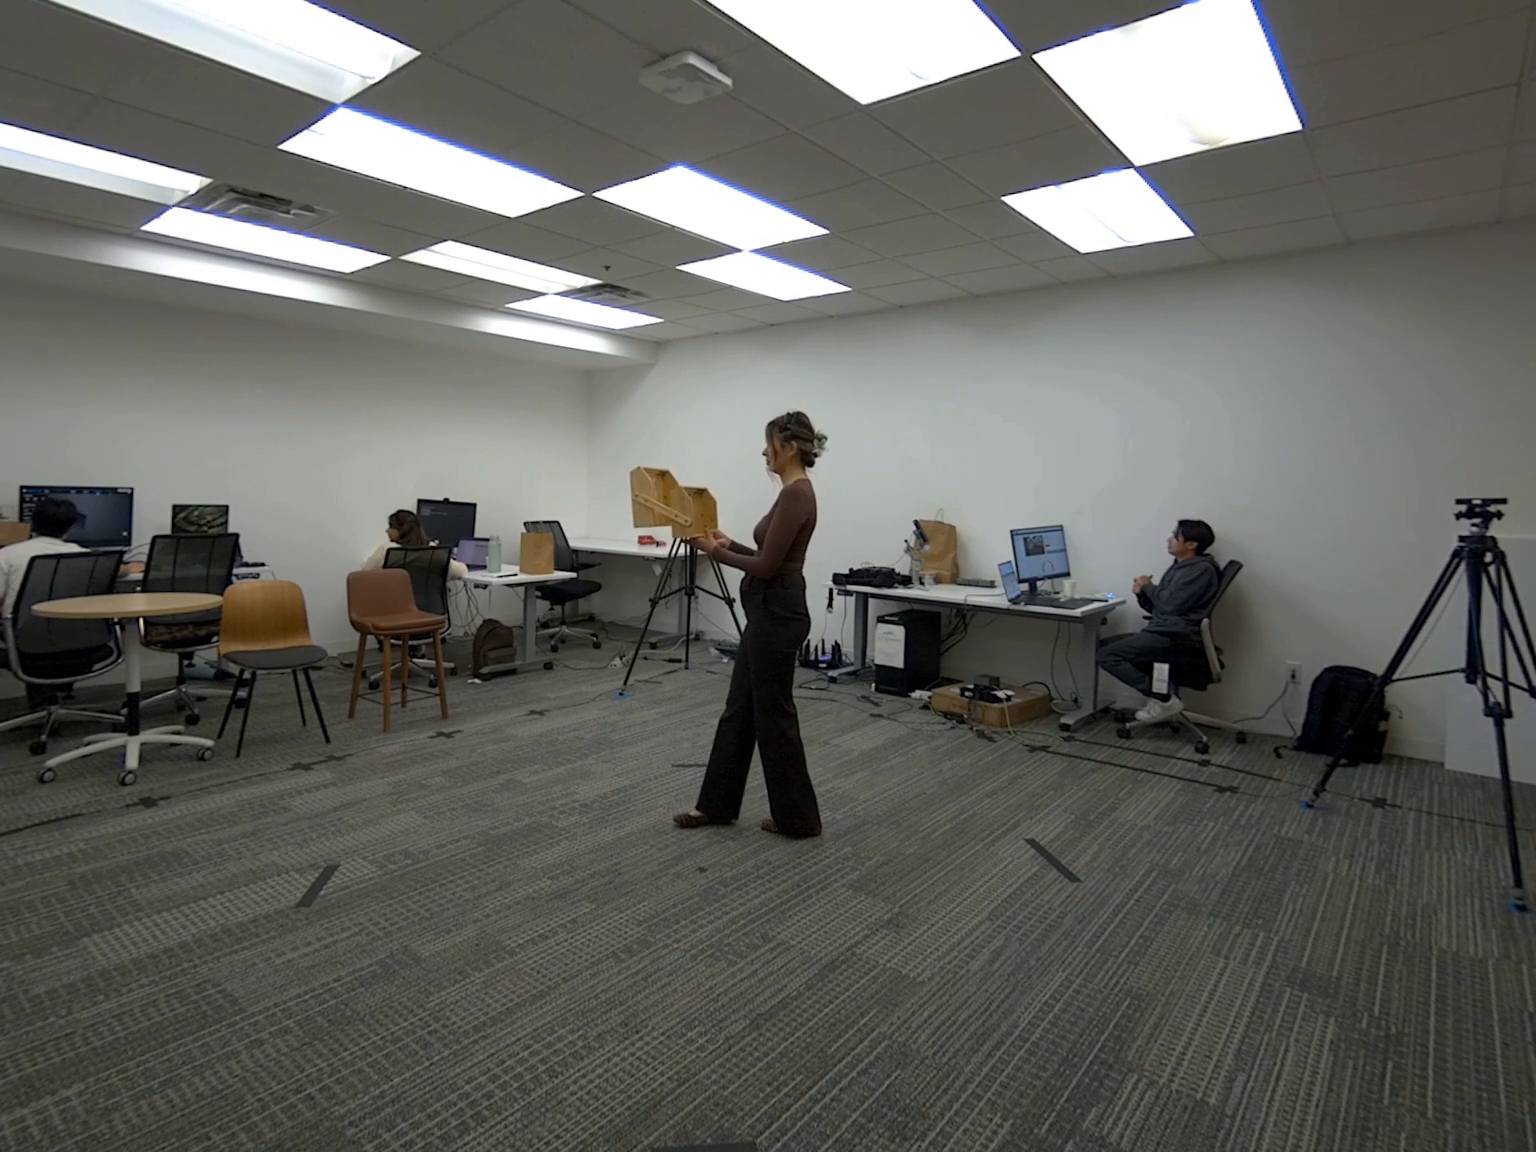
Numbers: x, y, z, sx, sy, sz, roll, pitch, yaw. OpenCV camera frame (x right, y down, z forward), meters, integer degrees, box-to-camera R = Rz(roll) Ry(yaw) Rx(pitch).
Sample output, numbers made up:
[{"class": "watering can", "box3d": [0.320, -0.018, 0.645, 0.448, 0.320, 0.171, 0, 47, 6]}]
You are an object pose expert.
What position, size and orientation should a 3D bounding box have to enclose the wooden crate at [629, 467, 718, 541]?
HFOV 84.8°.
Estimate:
[{"class": "wooden crate", "box3d": [-0.395, -0.317, 3.569, 0.278, 0.301, 0.319, -3, 2, 17]}]
